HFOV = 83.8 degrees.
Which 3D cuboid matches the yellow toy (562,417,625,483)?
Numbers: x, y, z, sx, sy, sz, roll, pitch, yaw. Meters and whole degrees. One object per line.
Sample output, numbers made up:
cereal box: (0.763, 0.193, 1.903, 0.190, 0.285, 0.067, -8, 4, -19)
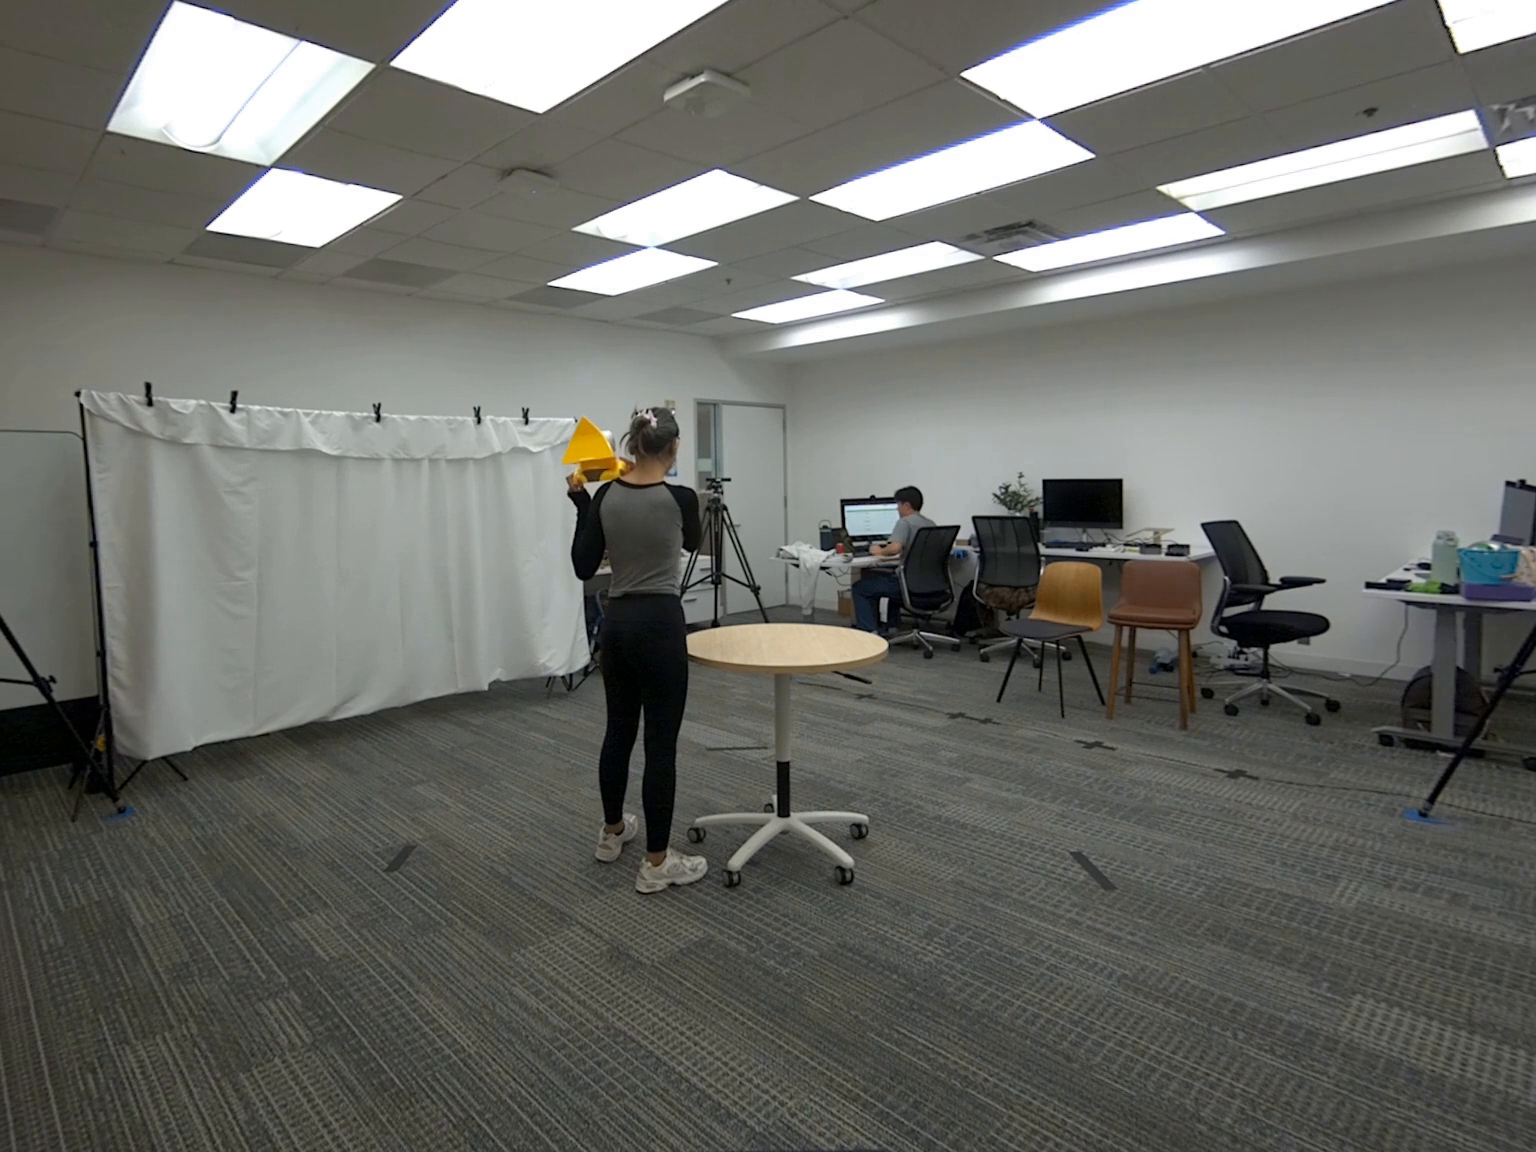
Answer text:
yellow toy: (-0.602, -0.456, 3.013, 0.207, 0.228, 0.193, -5, 11, 14)
